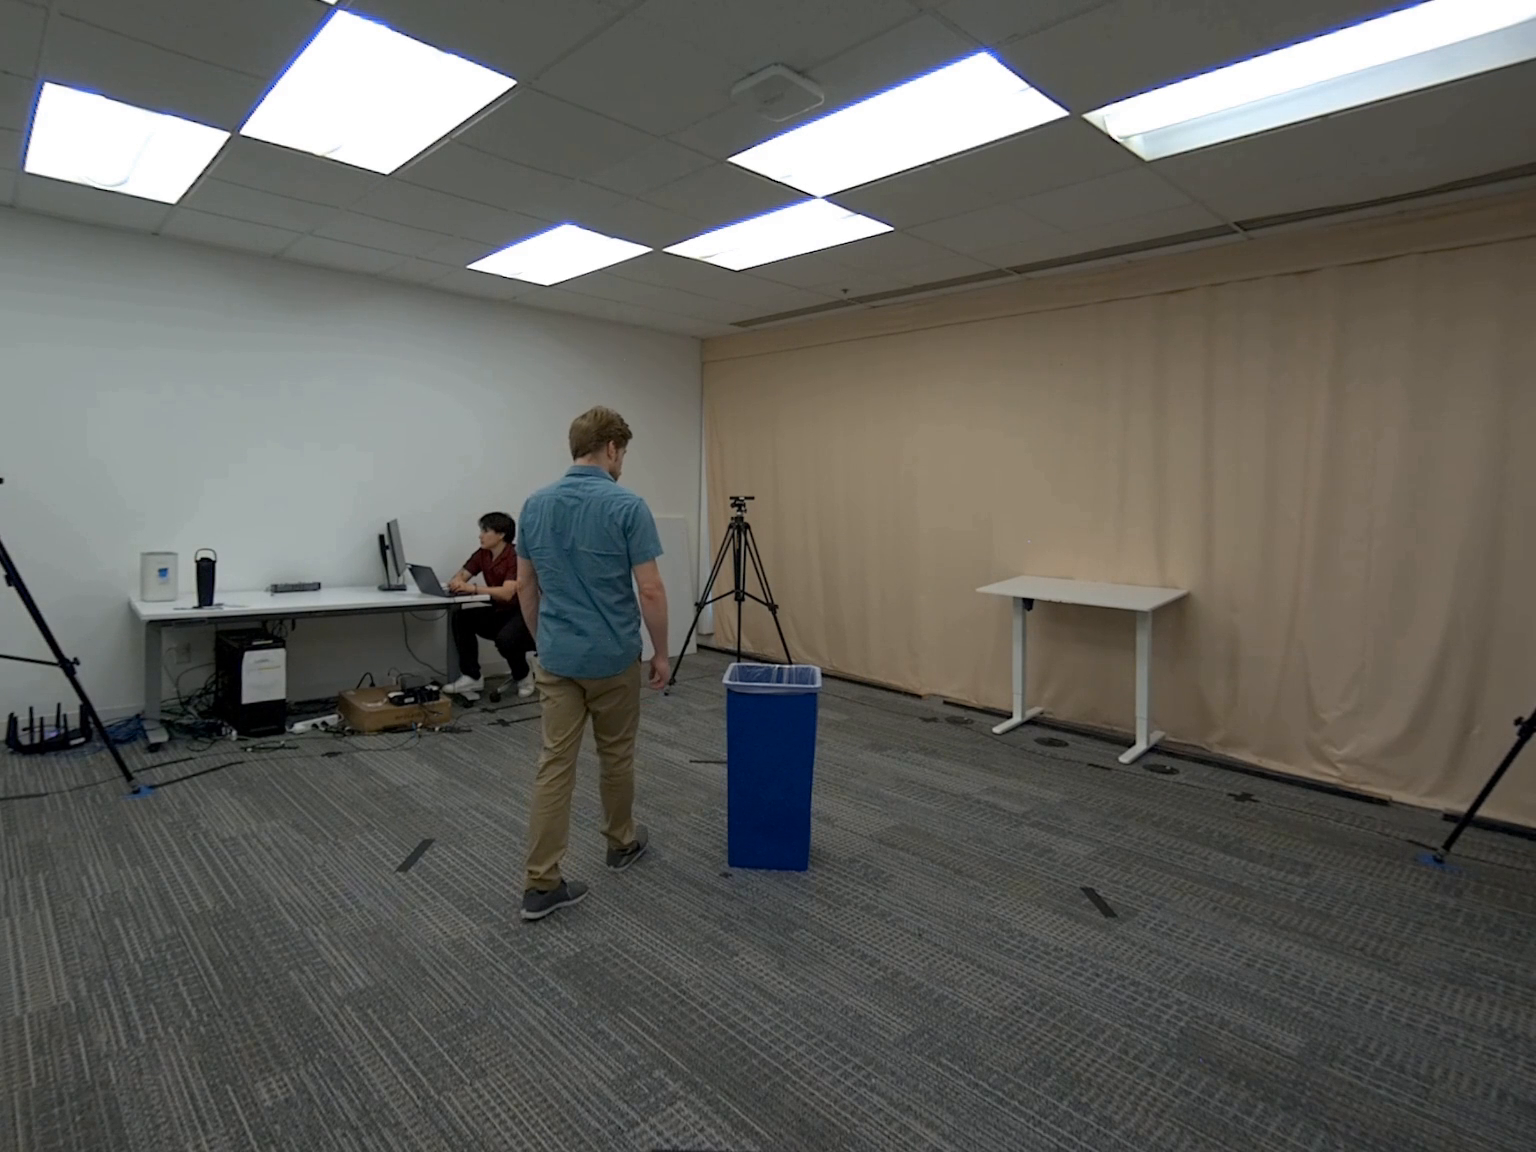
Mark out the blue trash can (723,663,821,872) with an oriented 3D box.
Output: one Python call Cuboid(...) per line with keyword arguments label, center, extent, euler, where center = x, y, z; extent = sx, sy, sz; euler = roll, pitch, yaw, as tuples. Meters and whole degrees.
Cuboid(label="blue trash can", center=(-0.003, 0.735, 3.290), extent=(0.375, 0.711, 0.378), euler=(2, 4, 3))
